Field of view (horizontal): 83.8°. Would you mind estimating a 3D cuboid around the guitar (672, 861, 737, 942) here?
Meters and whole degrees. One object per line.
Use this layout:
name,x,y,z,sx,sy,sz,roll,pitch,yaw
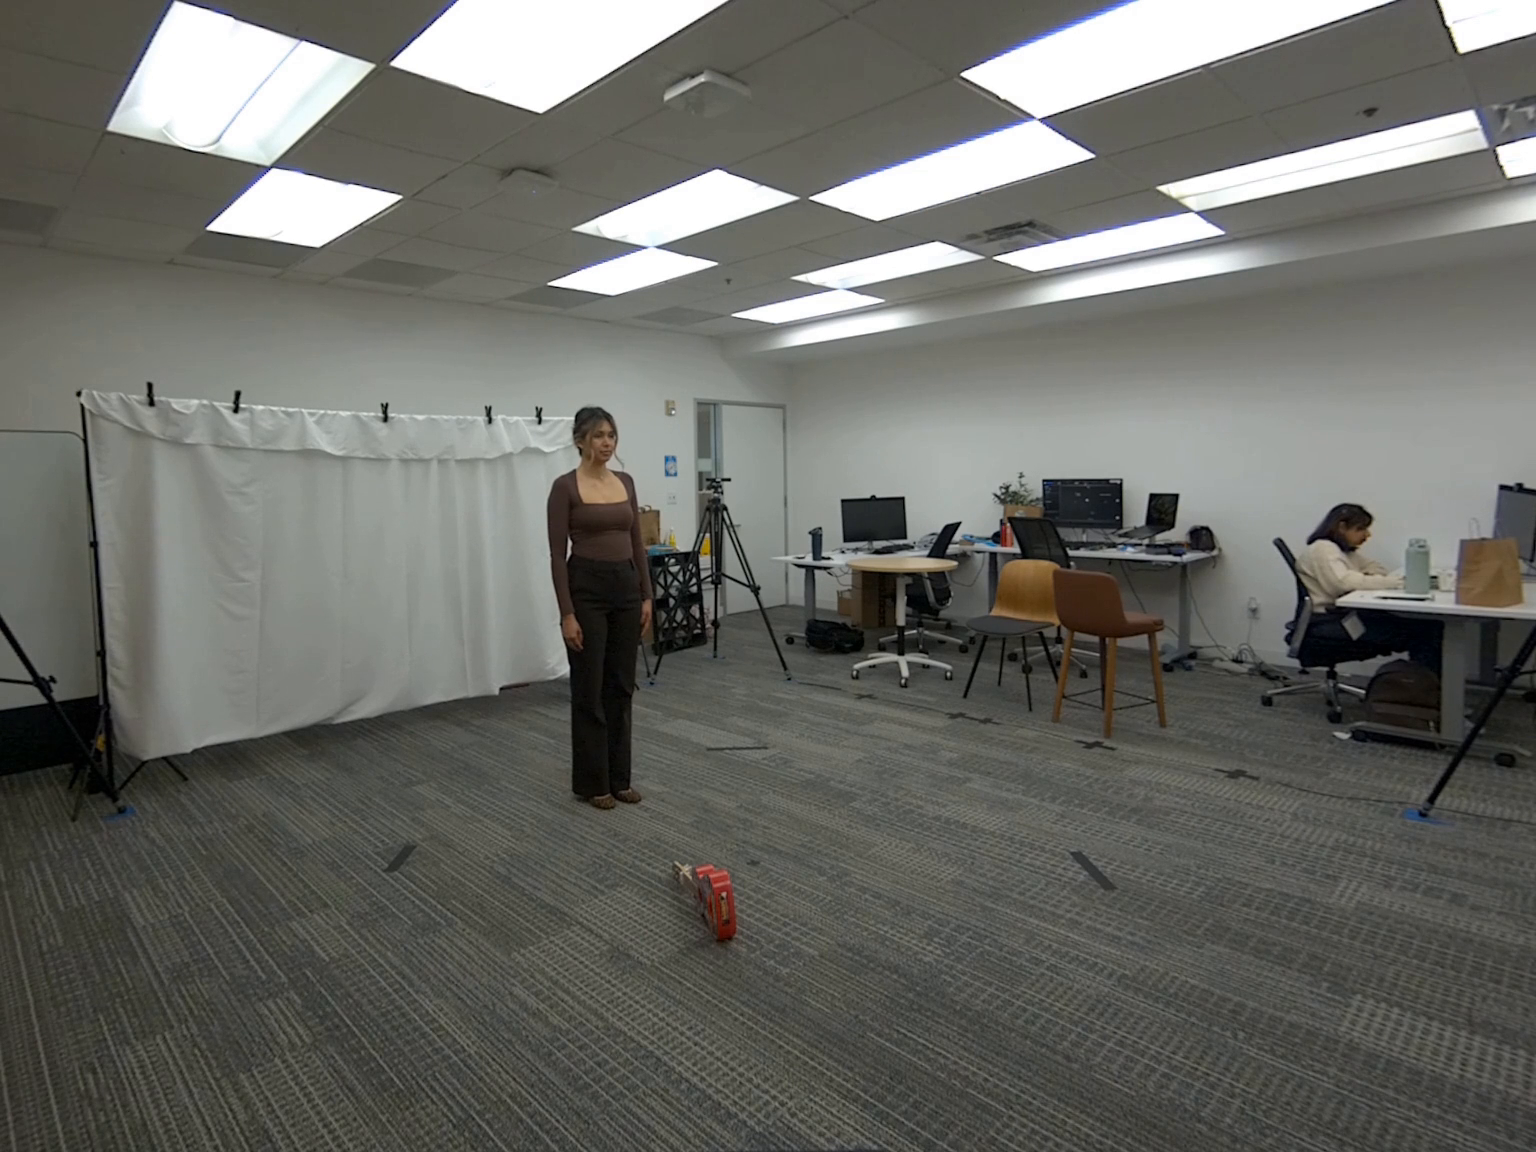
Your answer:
guitar,-0.218,0.988,2.785,0.069,0.192,0.509,-6,7,-20
